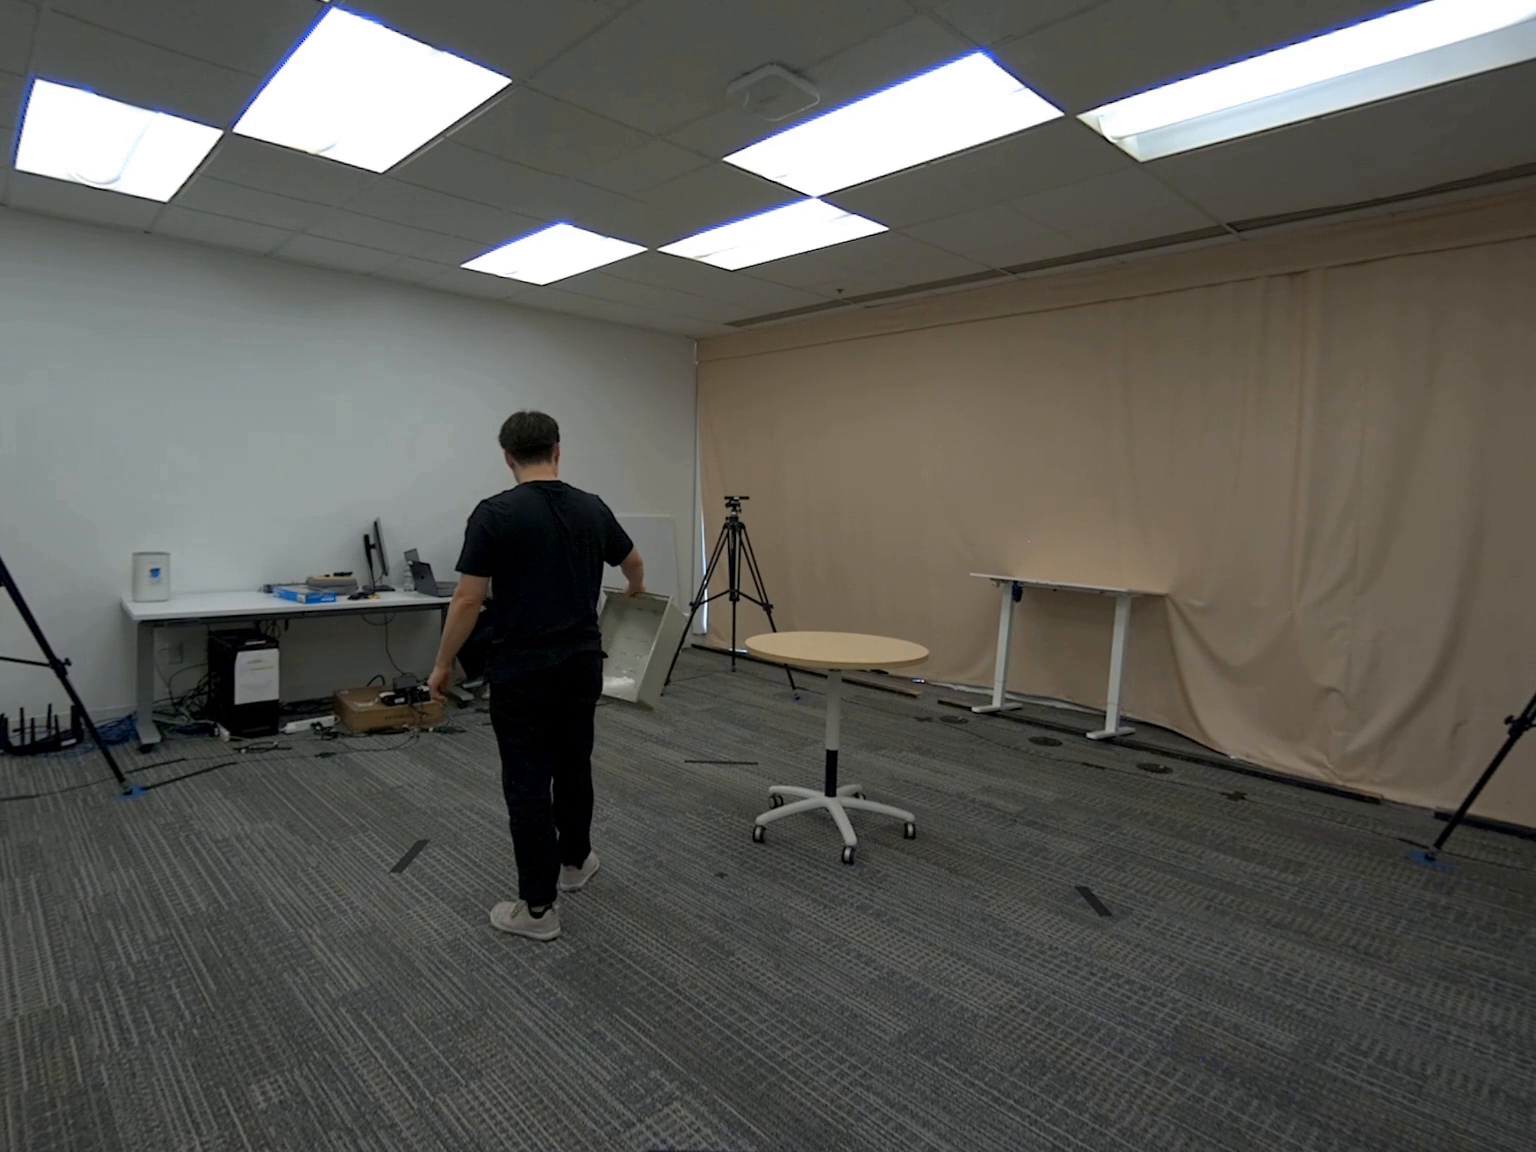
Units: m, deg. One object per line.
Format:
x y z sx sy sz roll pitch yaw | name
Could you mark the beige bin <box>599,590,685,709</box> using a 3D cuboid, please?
-0.563 0.276 3.285 0.386 0.425 0.183 8 -21 31 | beige bin
